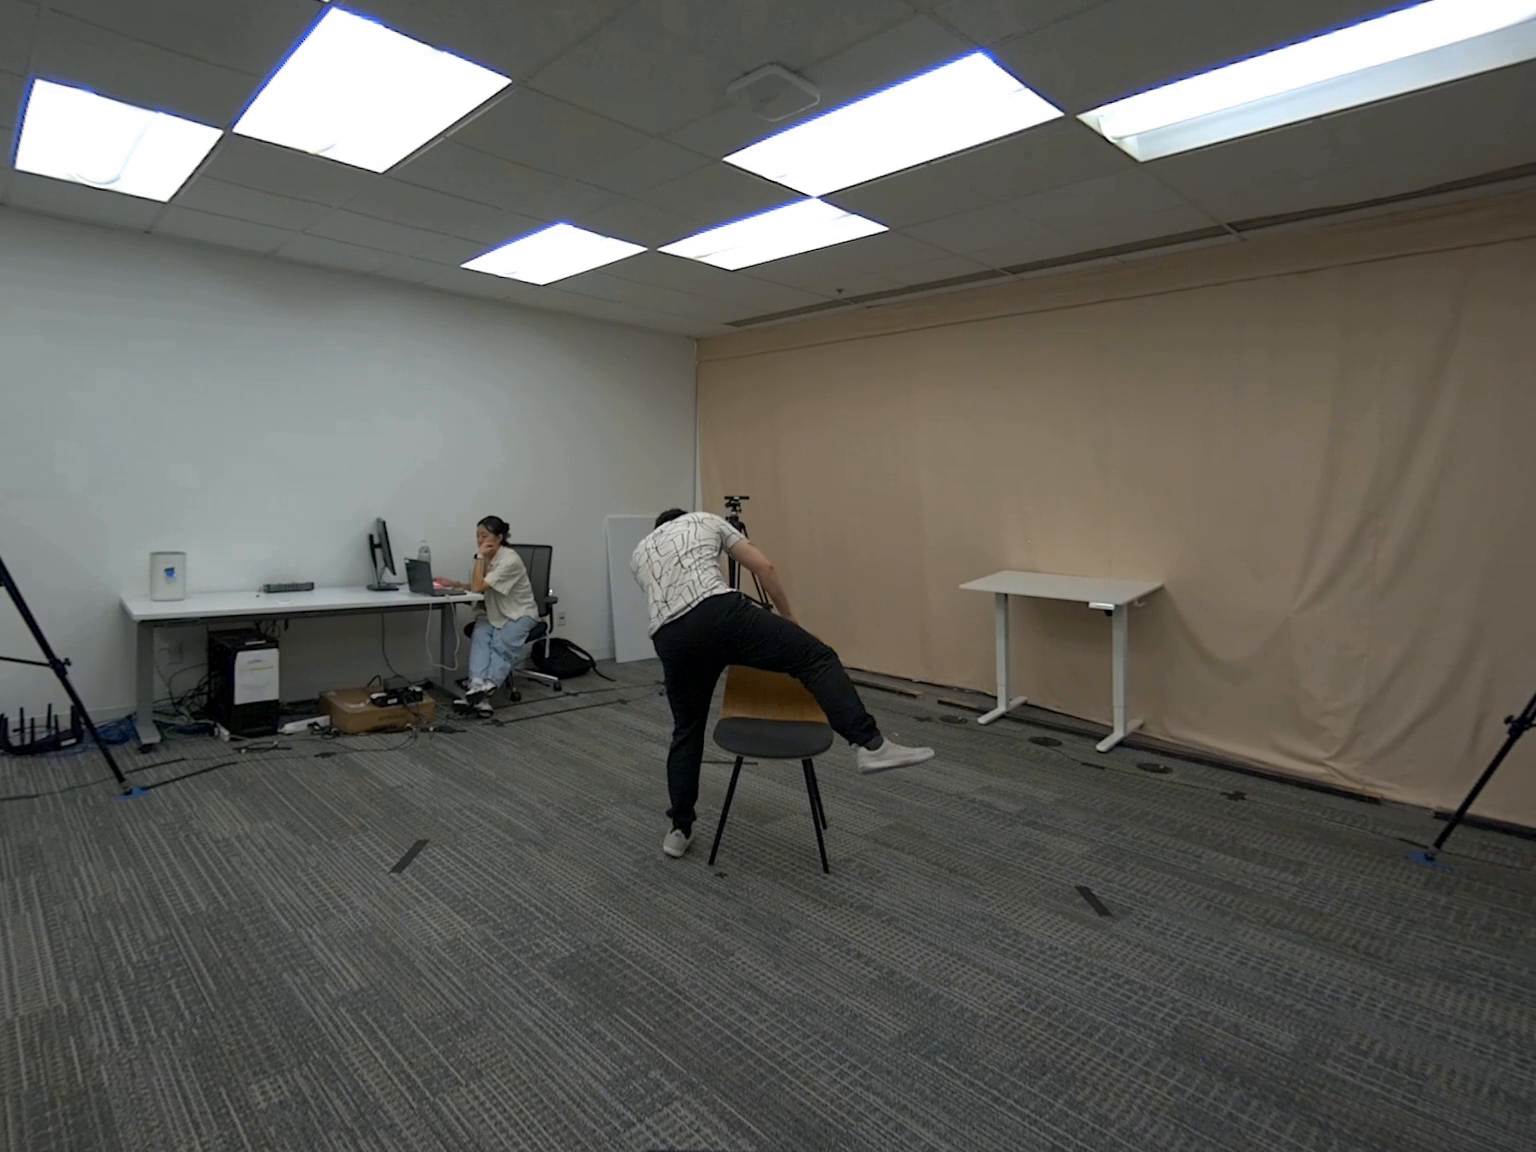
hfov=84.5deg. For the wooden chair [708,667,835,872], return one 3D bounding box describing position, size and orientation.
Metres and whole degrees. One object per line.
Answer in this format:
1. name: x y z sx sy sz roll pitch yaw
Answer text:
1. wooden chair: 0.022 0.659 3.341 0.480 0.878 0.520 2 -2 4
